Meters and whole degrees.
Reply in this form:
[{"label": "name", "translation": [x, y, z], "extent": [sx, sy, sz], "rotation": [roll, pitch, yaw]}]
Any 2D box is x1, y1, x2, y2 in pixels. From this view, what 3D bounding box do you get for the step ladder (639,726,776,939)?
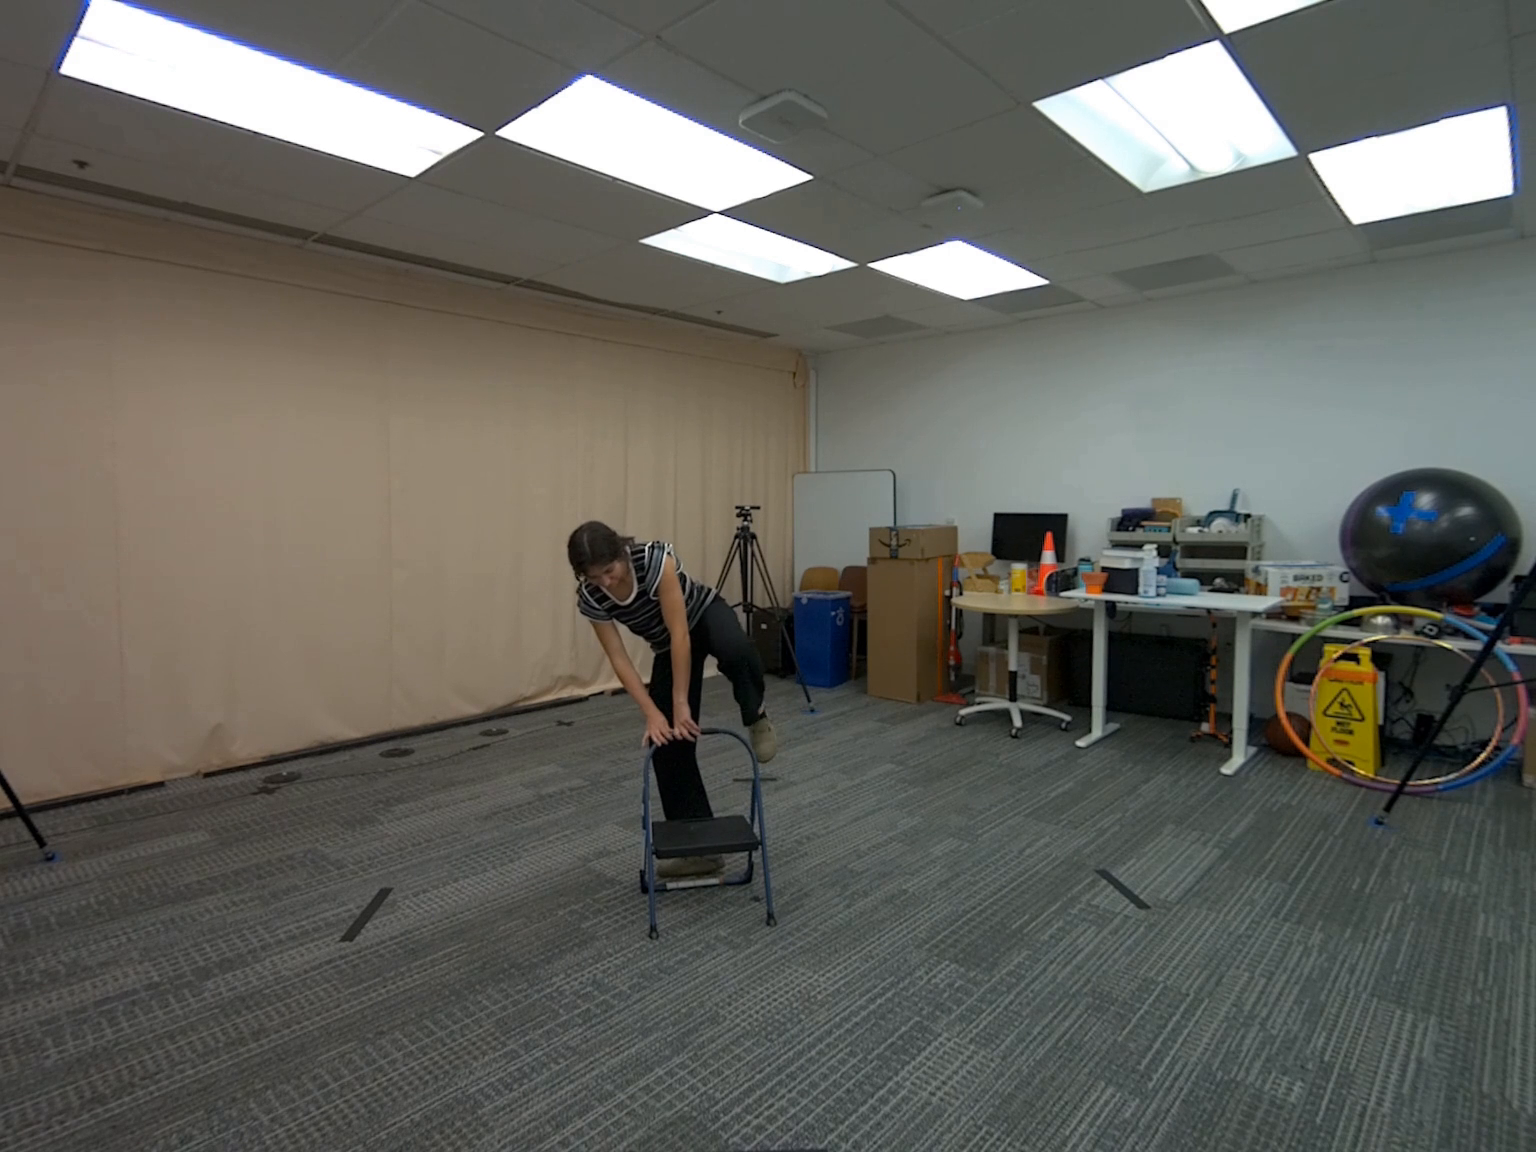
[{"label": "step ladder", "translation": [-0.218, 0.849, 2.912], "extent": [0.425, 0.605, 0.355], "rotation": [-1, 3, -13]}]
